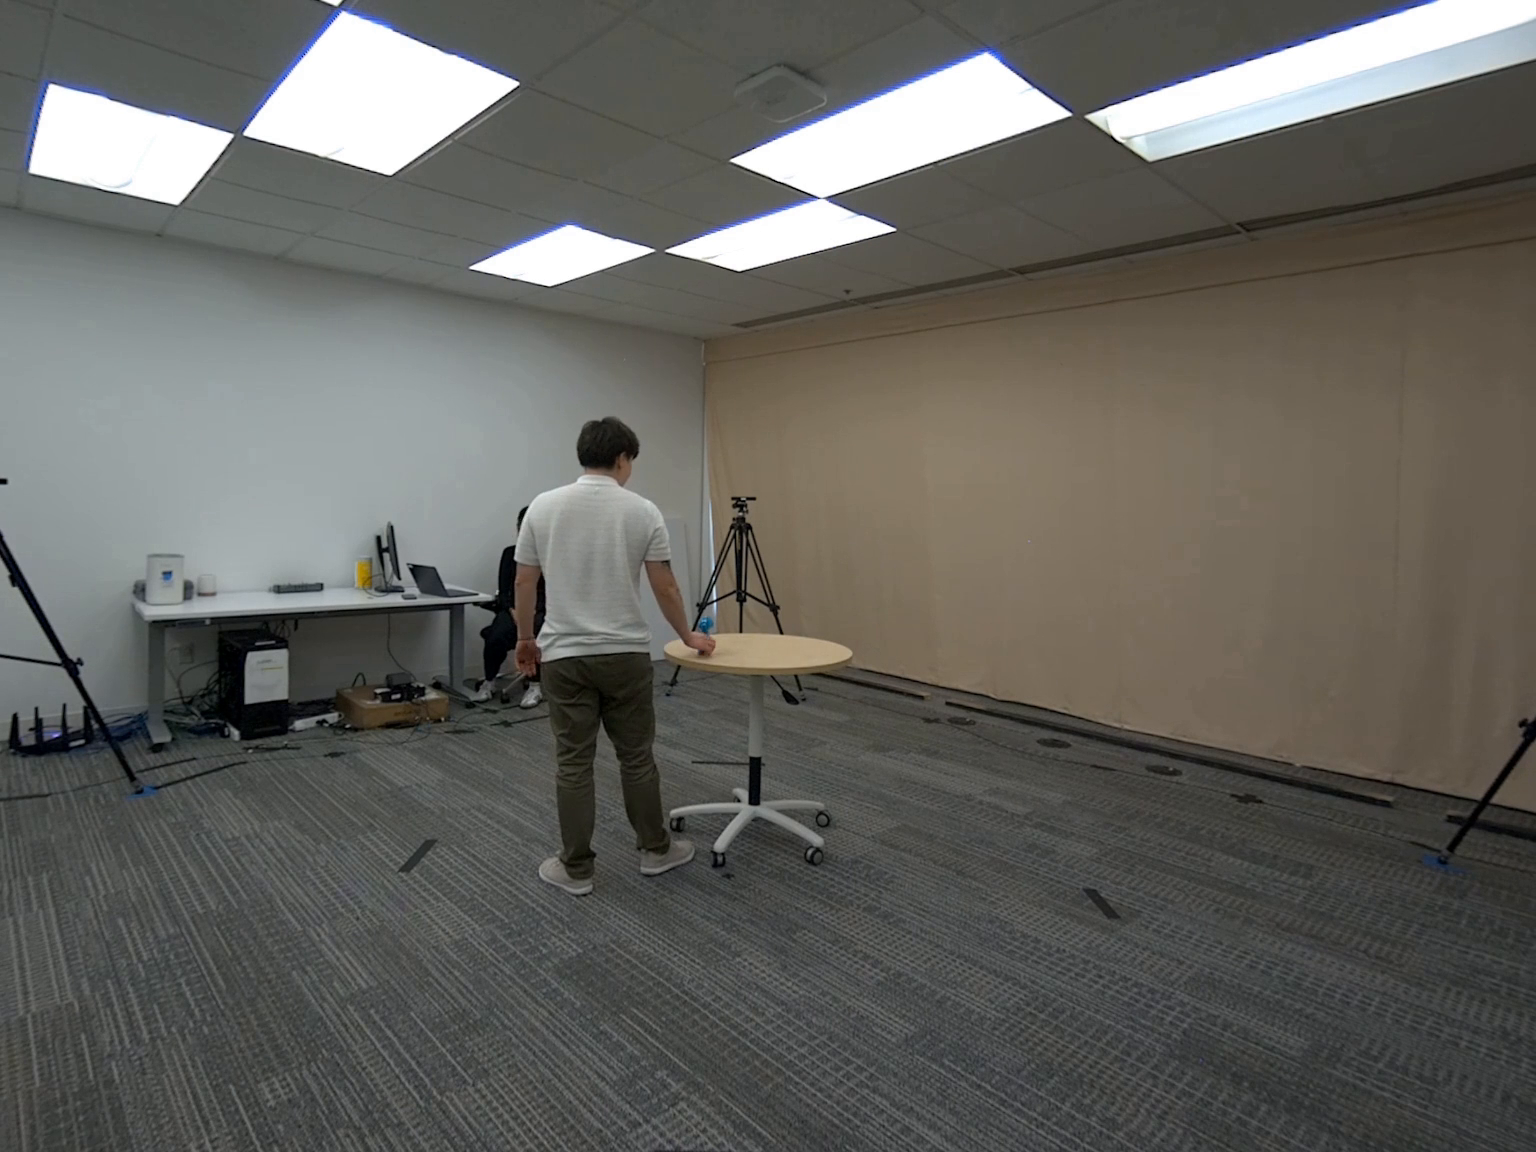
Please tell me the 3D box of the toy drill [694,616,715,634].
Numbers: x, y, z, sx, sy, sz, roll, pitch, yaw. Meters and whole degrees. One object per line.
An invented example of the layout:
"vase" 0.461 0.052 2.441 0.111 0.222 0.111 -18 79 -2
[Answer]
"toy drill" -0.250 0.227 3.346 0.061 0.146 0.170 -1 2 -1
